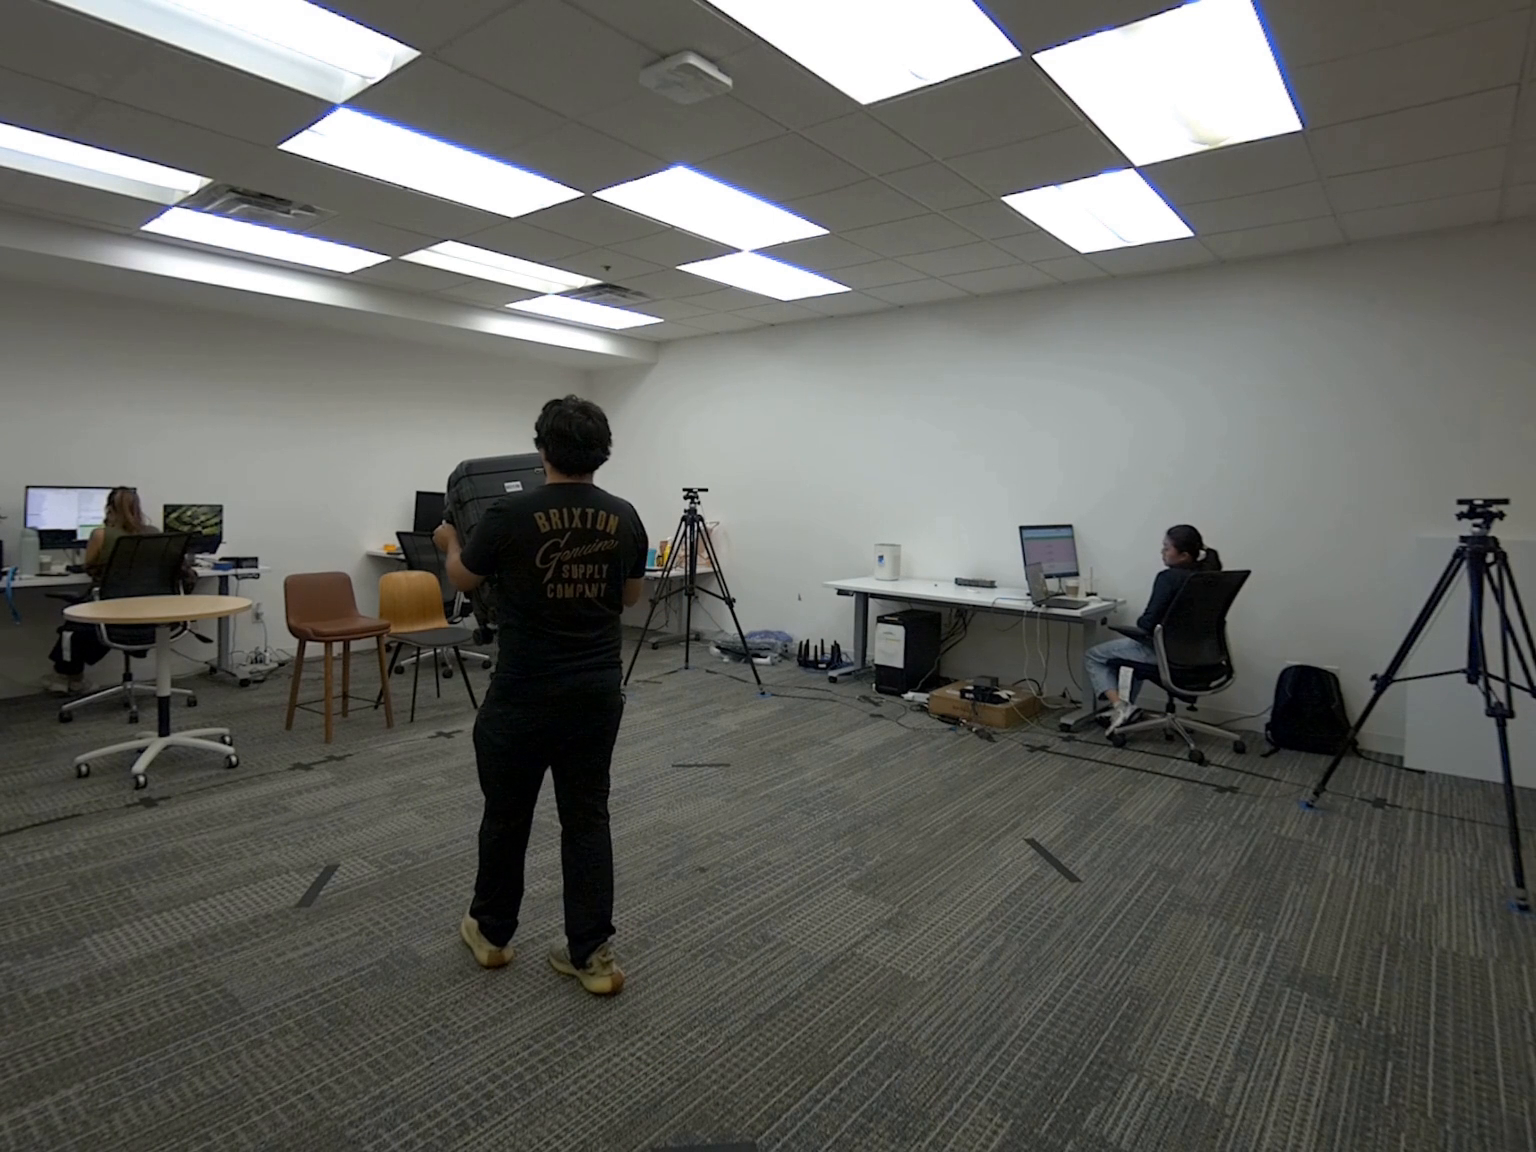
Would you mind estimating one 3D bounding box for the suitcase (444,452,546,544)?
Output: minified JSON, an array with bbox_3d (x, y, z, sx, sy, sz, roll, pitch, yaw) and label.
[{"bbox_3d":[-0.801,-0.114,2.690,0.366,0.560,0.249,-8,-19,-32],"label":"suitcase"}]
